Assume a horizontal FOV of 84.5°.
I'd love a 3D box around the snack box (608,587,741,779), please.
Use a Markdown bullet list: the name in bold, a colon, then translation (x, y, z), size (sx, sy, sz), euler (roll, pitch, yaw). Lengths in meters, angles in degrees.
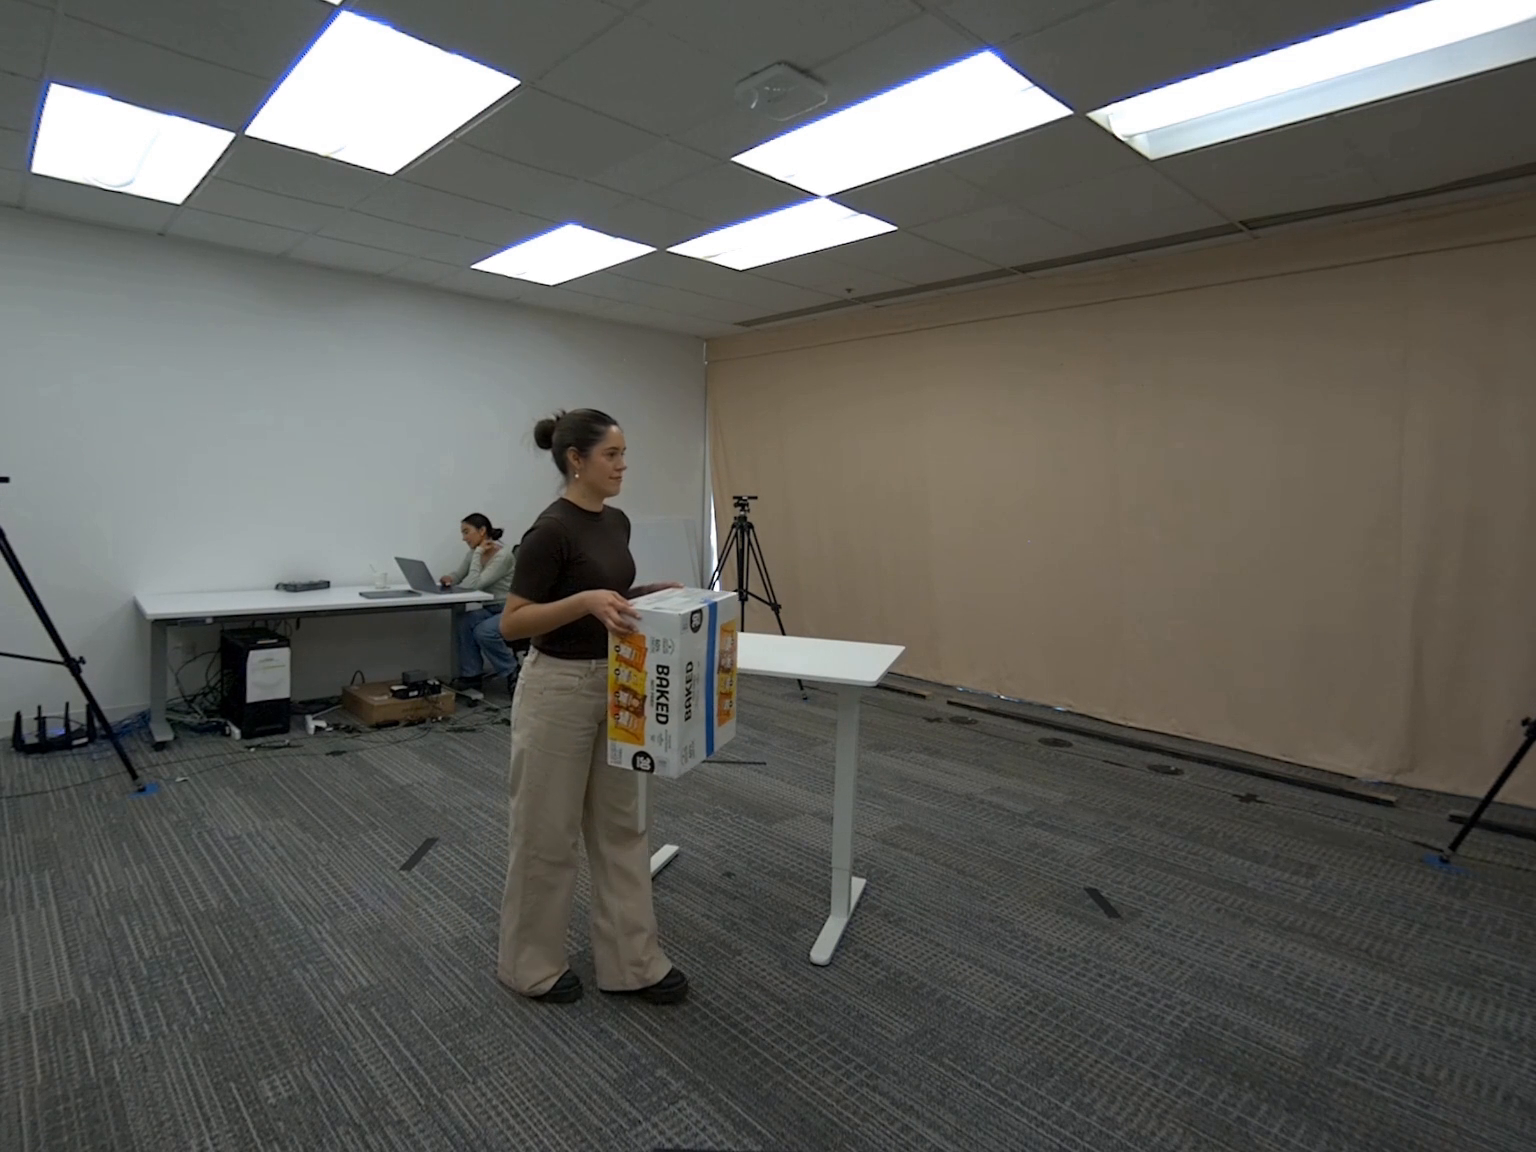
- **snack box**: translation (-0.252, 0.257, 2.166), size (0.209, 0.403, 0.336), euler (4, 8, 22)
